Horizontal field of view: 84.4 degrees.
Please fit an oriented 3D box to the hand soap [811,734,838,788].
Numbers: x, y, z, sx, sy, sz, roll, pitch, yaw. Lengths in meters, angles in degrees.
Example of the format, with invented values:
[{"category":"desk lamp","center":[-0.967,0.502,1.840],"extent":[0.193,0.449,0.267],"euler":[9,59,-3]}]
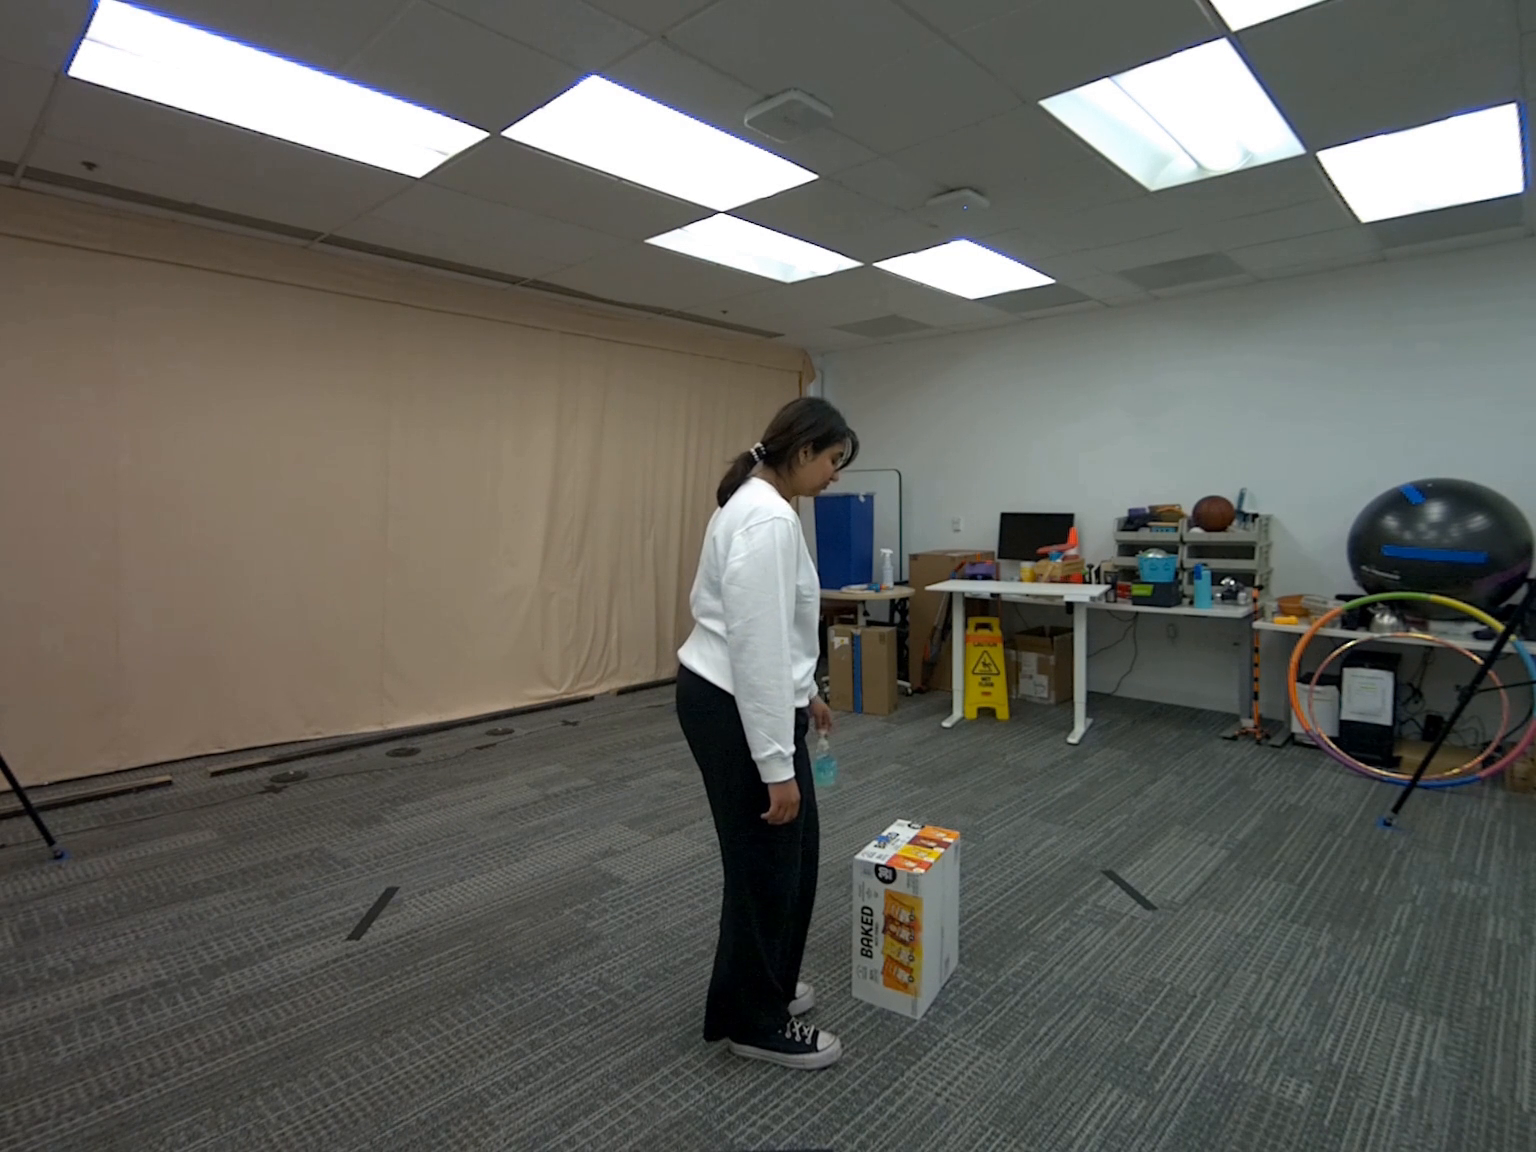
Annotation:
[{"category":"hand soap","center":[0.166,0.534,2.474],"extent":[0.083,0.167,0.044],"euler":[-11,10,-24]}]
